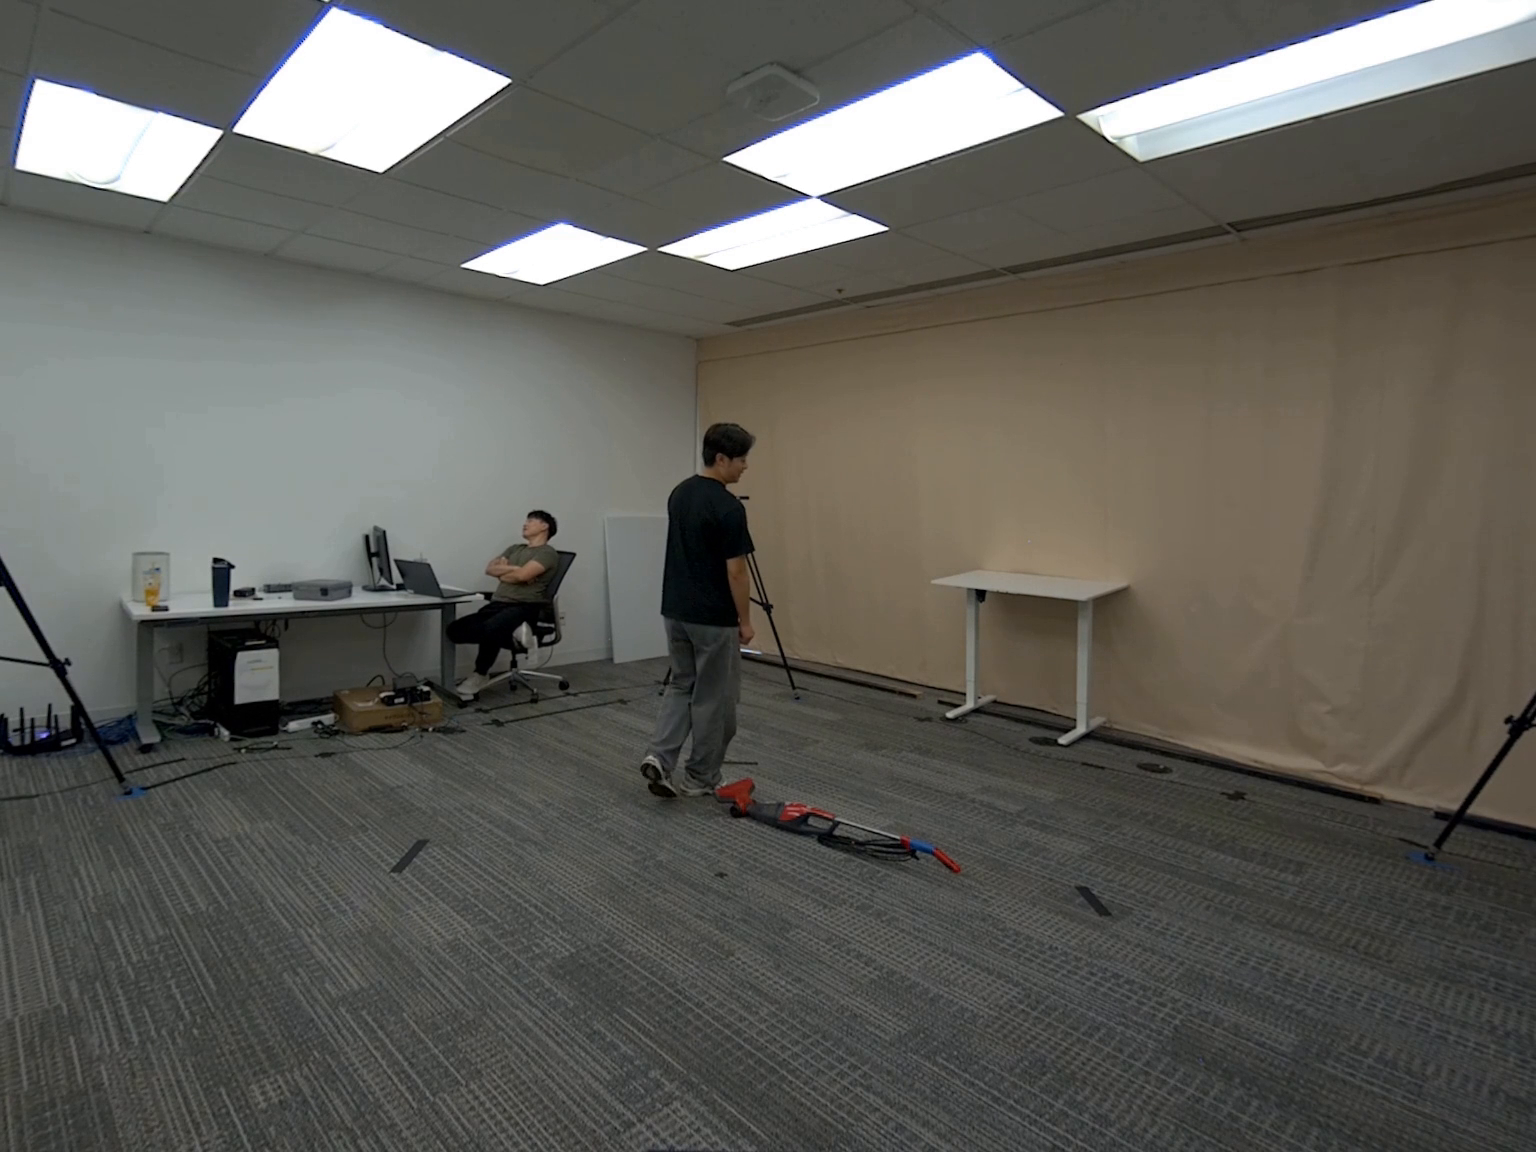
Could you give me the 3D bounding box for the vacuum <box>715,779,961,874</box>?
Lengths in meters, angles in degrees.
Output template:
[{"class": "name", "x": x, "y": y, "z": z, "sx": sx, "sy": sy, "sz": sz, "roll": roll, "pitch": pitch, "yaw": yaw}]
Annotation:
[{"class": "vacuum", "x": 0.268, "y": 1.032, "z": 3.396, "sx": 1.076, "sy": 0.143, "sz": 0.247, "roll": 6, "pitch": 5, "yaw": 40}]
